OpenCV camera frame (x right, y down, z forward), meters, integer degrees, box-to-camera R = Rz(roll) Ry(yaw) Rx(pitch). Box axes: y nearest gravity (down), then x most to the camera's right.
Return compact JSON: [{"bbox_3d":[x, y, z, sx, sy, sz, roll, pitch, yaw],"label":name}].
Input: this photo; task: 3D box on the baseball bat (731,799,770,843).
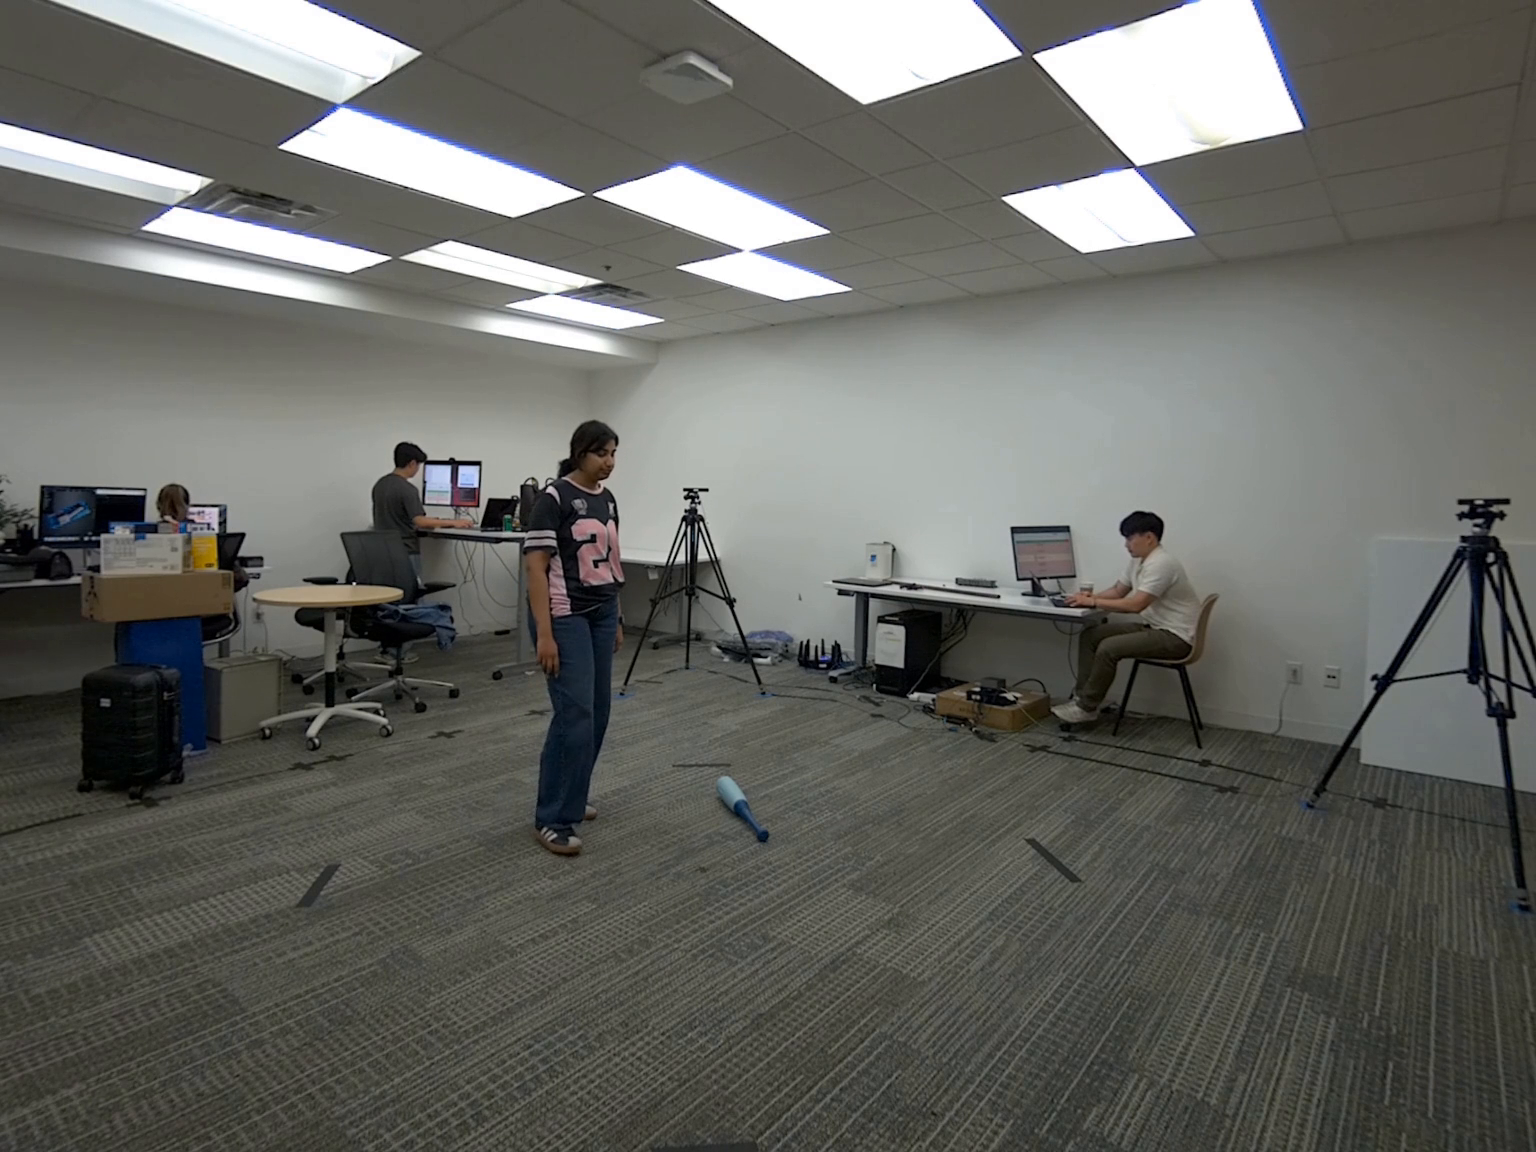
[{"bbox_3d":[-0.119,0.988,3.609,0.087,0.088,0.557,-1,9,-20],"label":"baseball bat"}]
